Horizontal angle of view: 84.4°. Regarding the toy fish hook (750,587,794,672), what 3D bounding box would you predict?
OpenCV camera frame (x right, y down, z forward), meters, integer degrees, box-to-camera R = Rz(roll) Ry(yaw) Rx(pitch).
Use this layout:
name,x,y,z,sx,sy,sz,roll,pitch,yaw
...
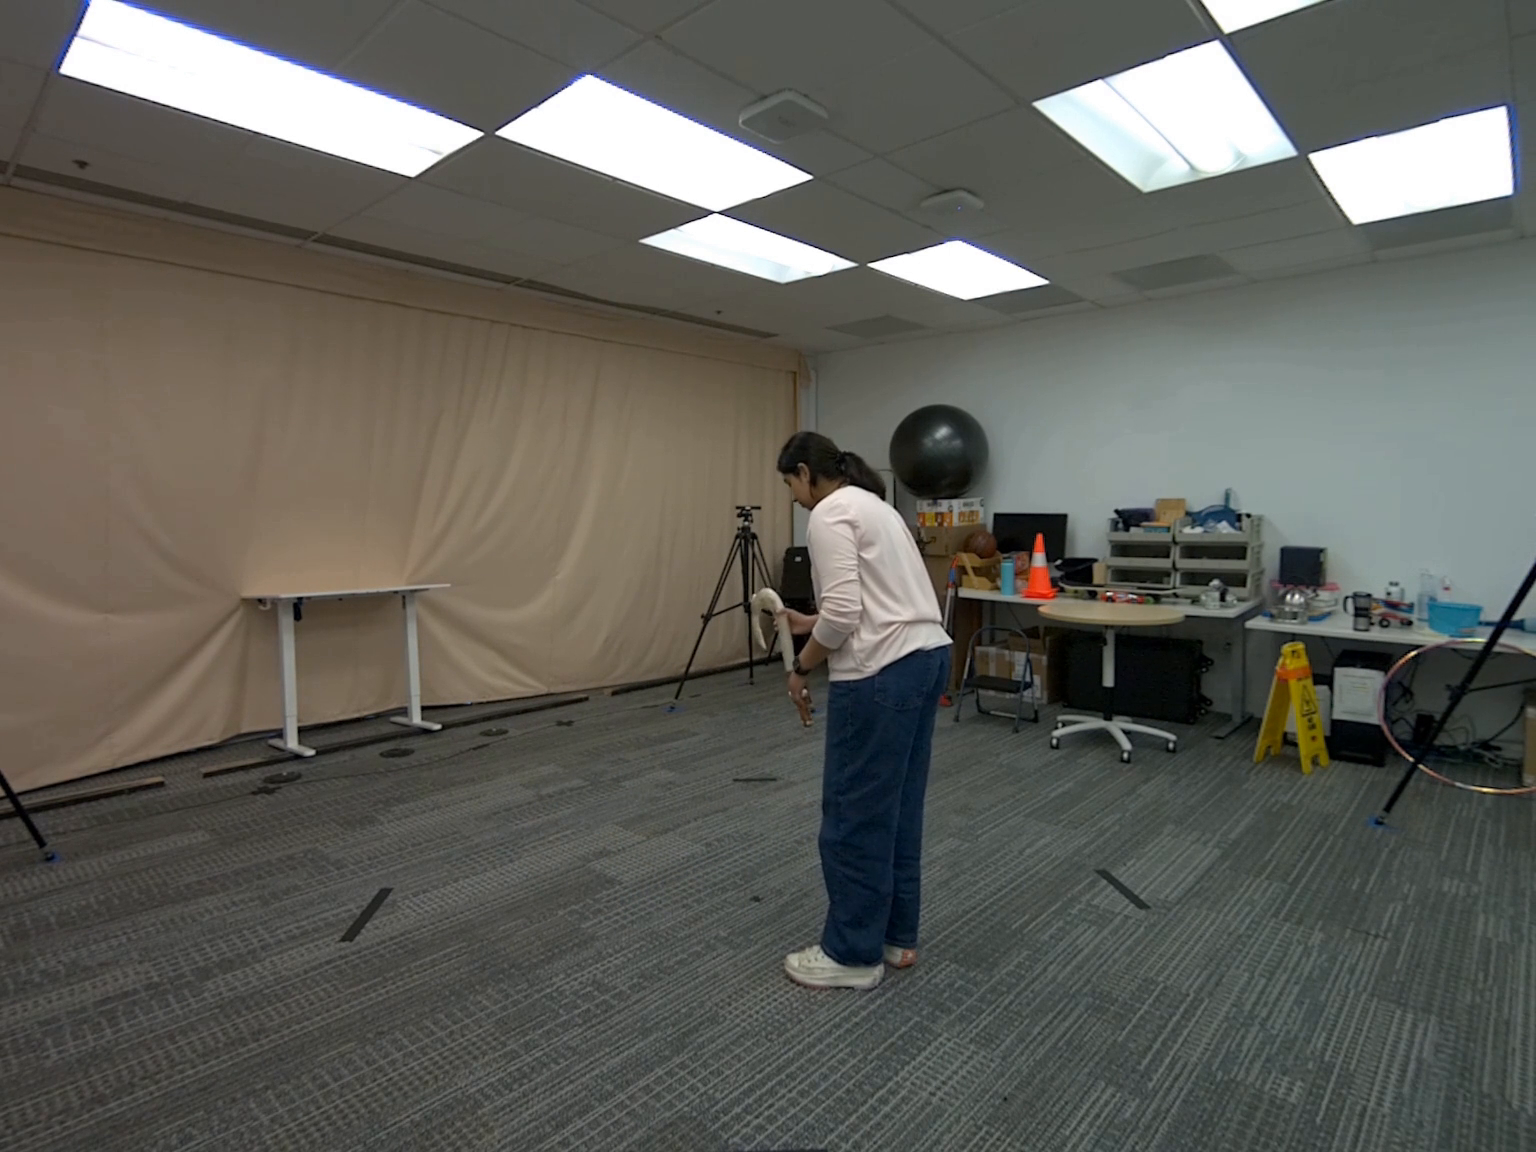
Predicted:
name,x,y,z,sx,sy,sz,roll,pitch,yaw
toy fish hook,0.049,0.297,2.975,0.047,0.513,0.227,-8,-17,-28
